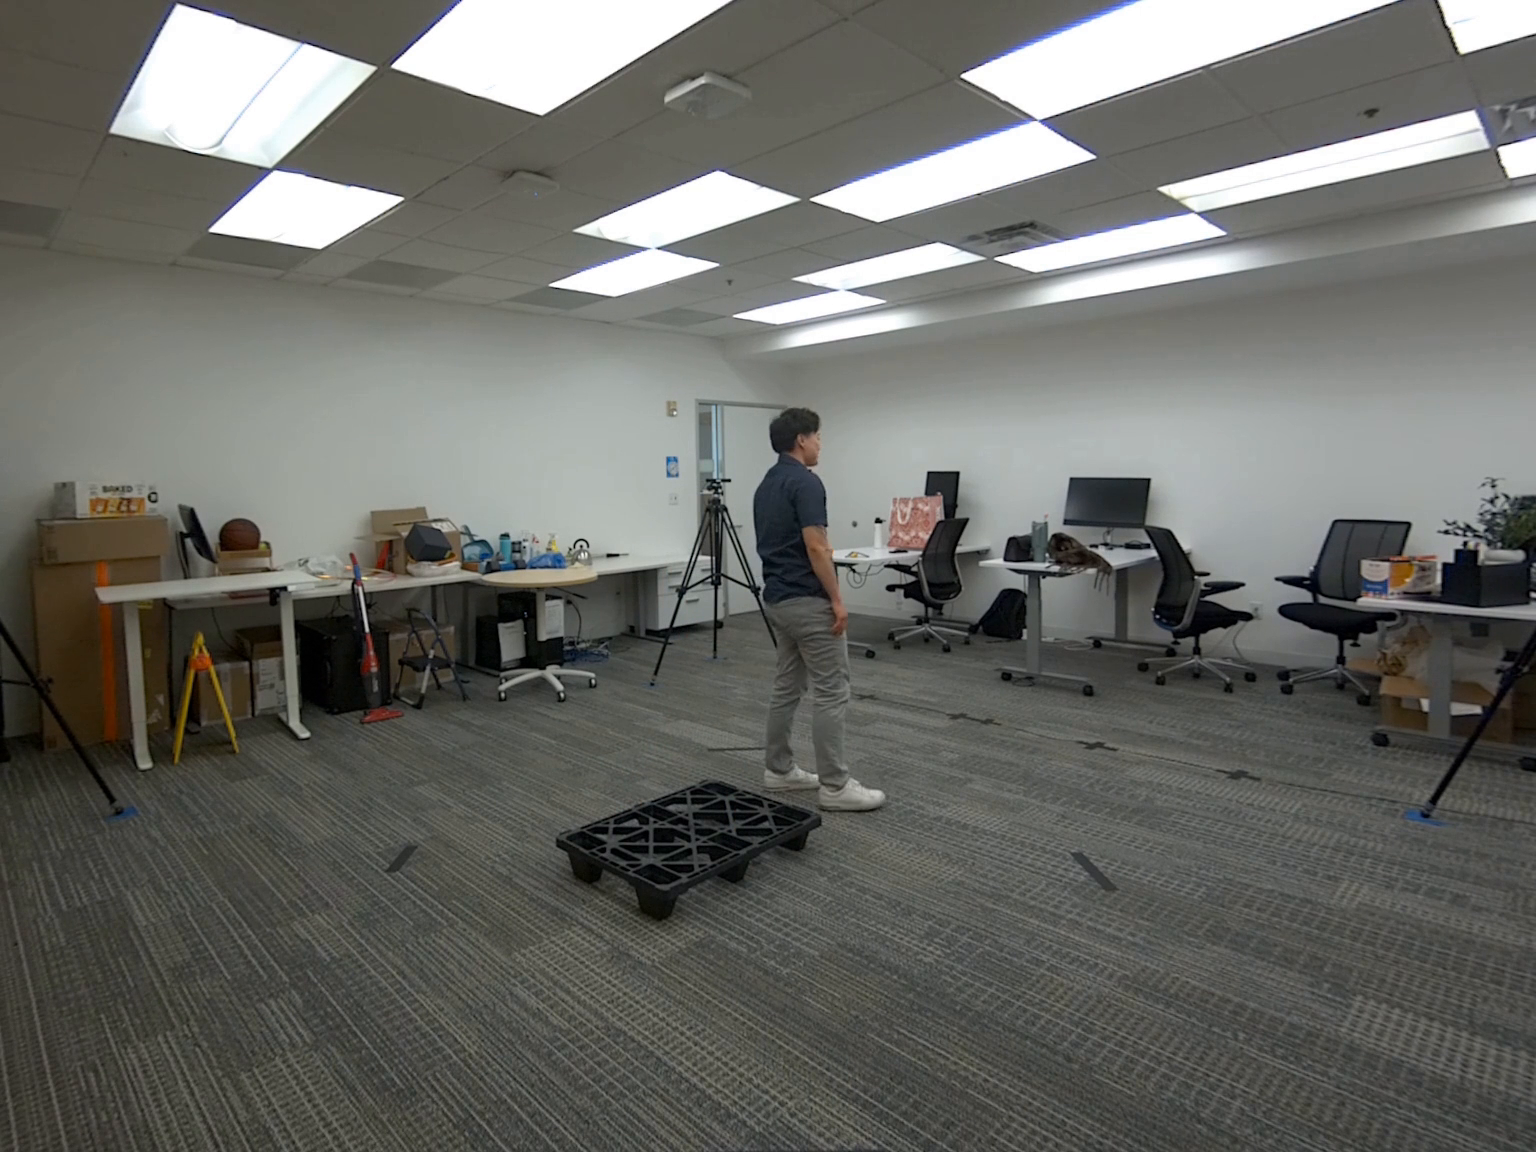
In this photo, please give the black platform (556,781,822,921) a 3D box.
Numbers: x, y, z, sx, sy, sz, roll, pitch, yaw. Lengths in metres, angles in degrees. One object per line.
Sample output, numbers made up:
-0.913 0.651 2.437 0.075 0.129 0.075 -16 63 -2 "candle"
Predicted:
-0.281 0.979 3.129 0.624 0.143 0.785 4 8 43 "black platform"
